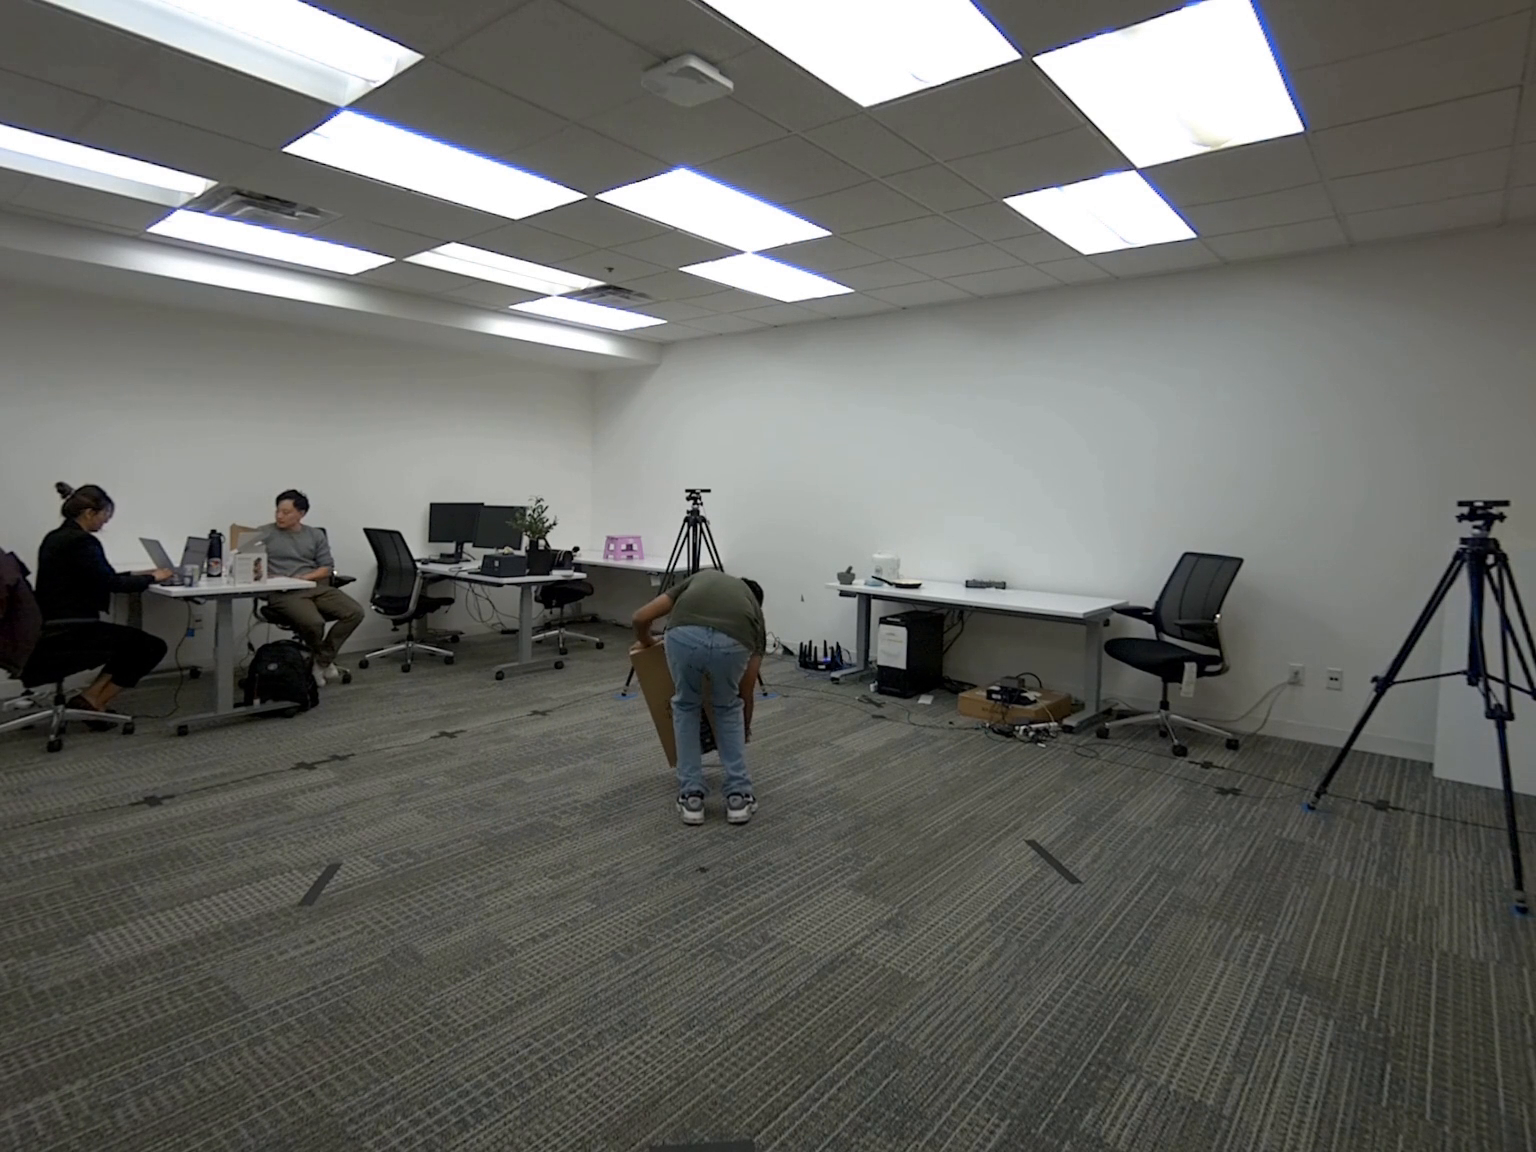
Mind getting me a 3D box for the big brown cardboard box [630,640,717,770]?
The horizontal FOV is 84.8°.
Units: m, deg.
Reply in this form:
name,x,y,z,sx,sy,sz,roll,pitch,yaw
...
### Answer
name,x,y,z,sx,sy,sz,roll,pitch,yaw
big brown cardboard box,-0.378,0.532,4.066,0.416,0.586,0.235,-20,4,-4
